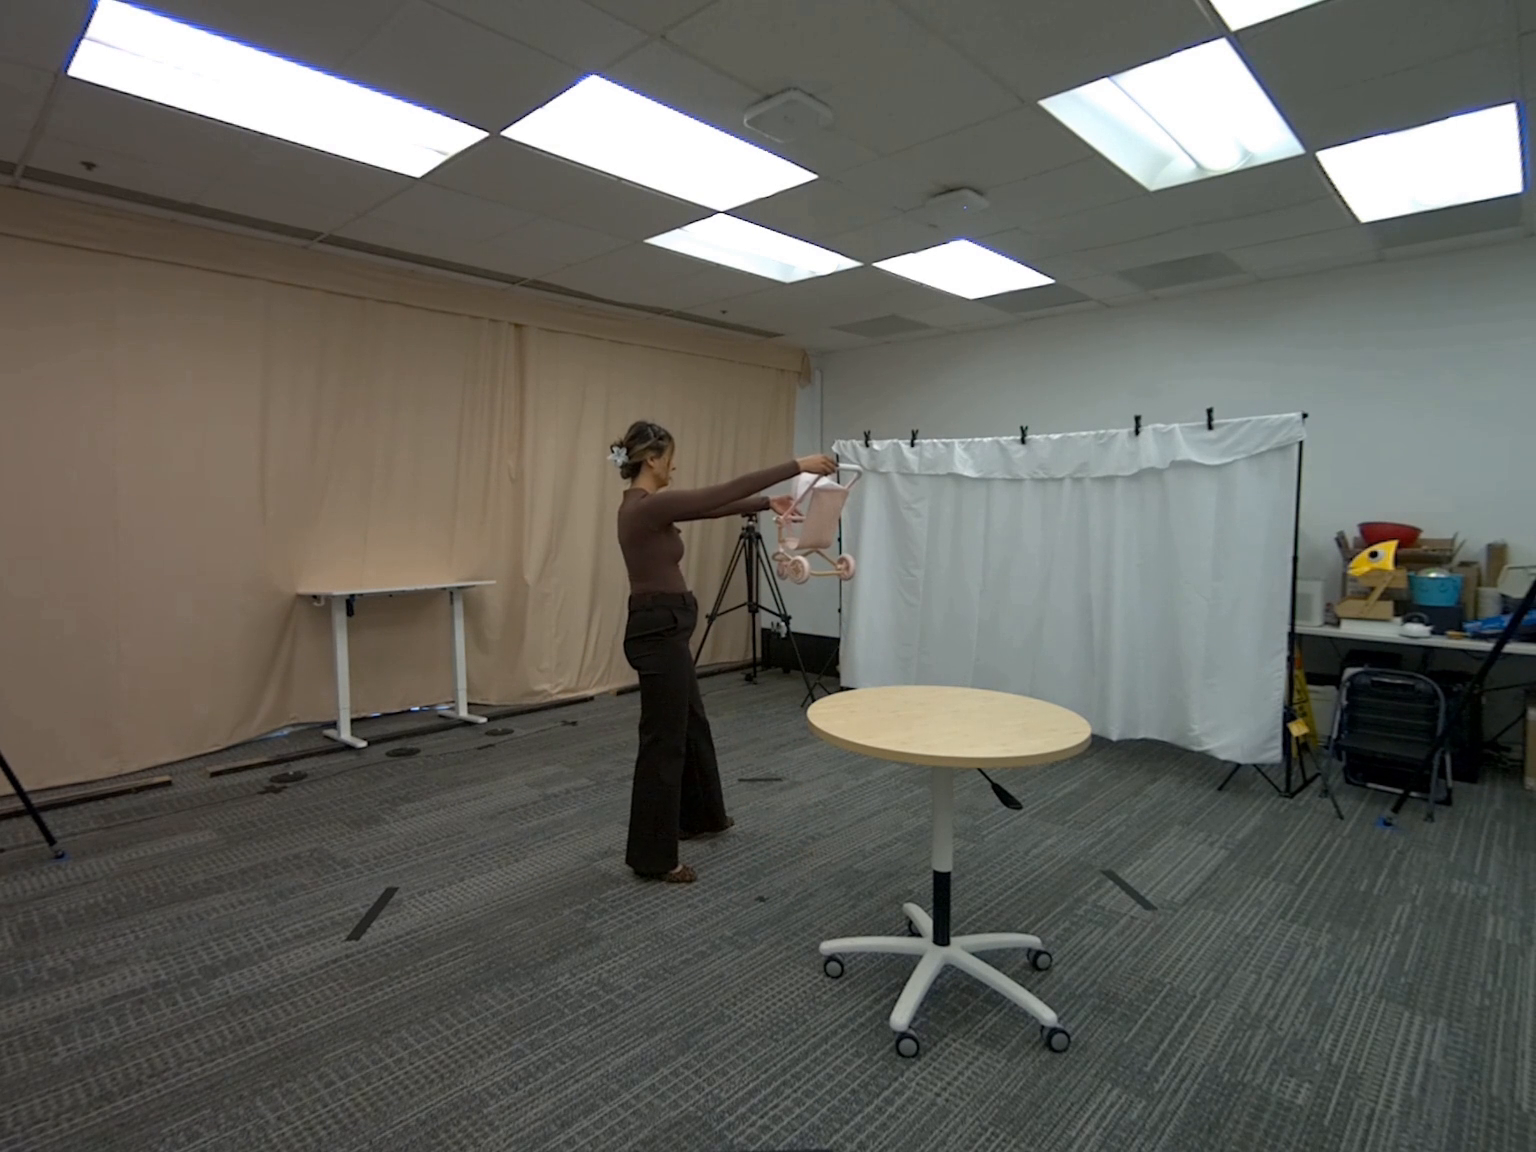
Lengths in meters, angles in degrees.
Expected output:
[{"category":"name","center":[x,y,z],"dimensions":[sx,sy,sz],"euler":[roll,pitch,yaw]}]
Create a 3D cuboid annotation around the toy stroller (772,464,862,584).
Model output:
[{"category":"toy stroller","center":[0.181,-0.205,3.379],"dimensions":[0.273,0.531,0.353],"euler":[-1,15,-32]}]
